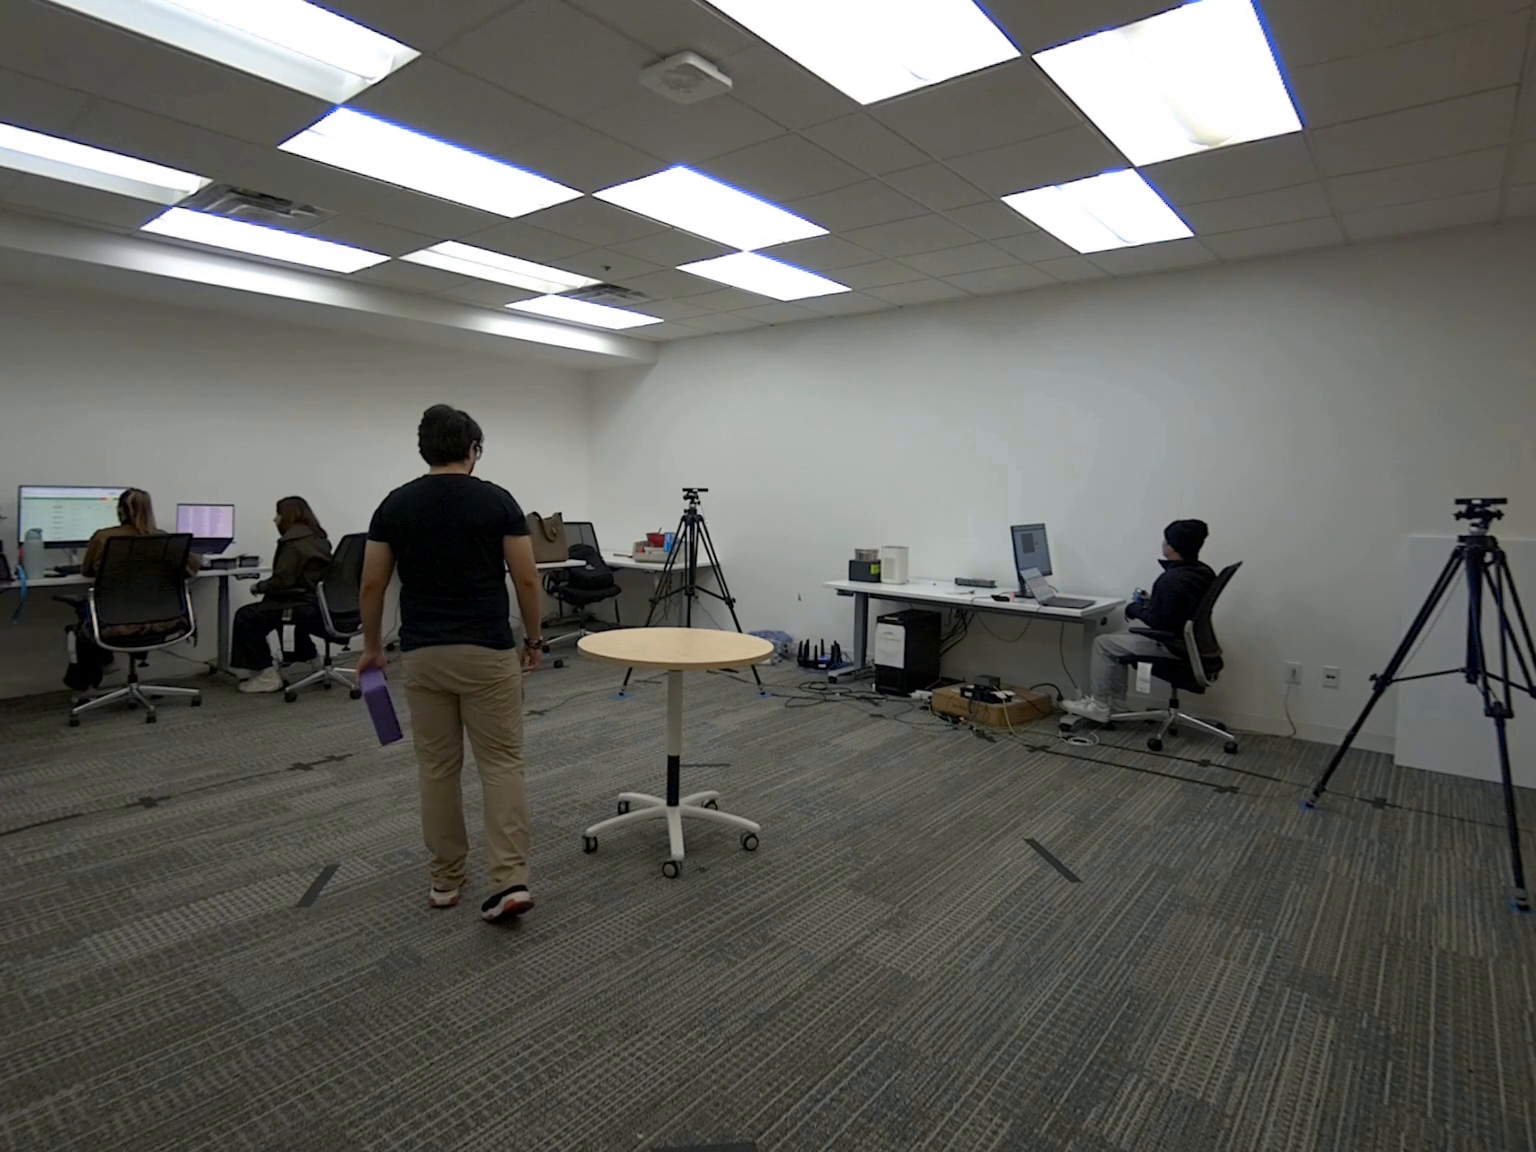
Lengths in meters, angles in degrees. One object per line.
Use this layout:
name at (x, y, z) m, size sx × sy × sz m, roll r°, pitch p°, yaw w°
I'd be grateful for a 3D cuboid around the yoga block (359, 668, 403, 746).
yoga block at (-1.350, 0.448, 2.946) m, size 0.075 × 0.224 × 0.155 m, roll -15°, pitch 24°, yaw -24°
